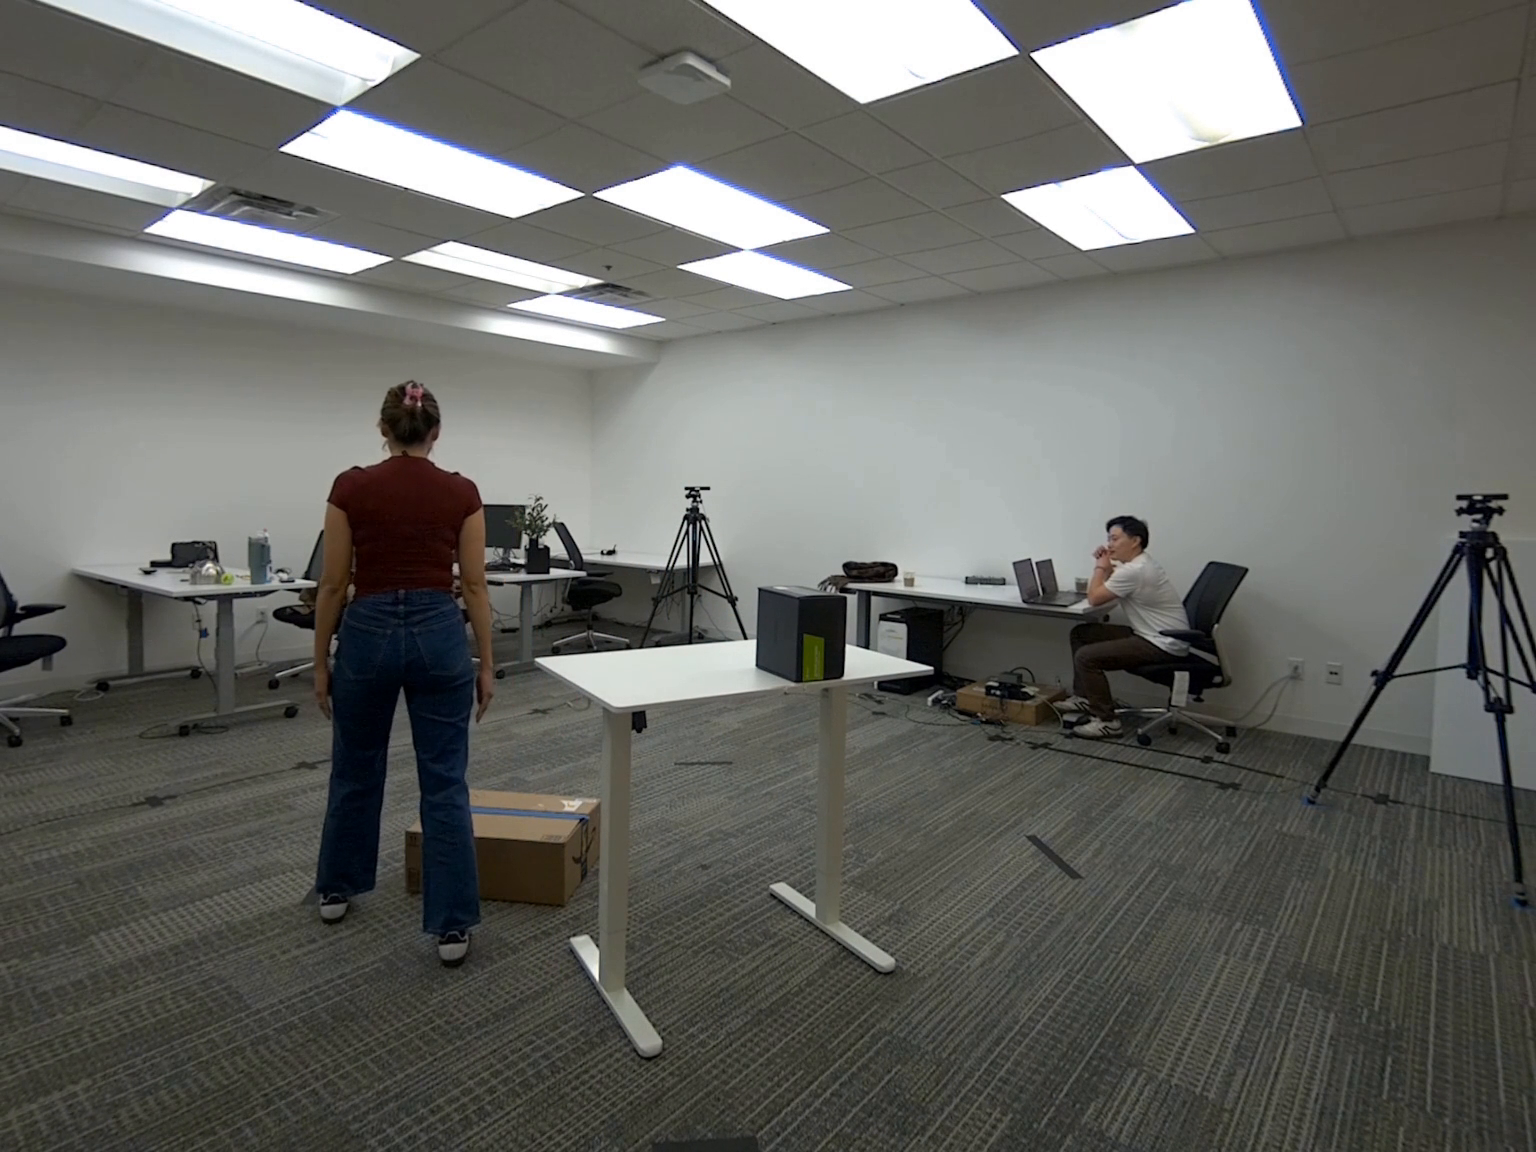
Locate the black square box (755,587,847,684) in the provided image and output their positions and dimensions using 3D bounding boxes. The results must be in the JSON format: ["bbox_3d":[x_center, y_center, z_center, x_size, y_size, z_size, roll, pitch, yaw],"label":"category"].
[{"bbox_3d":[0.079,0.153,2.350,0.152,0.227,0.224,-1,6,-31],"label":"black square box"}]
